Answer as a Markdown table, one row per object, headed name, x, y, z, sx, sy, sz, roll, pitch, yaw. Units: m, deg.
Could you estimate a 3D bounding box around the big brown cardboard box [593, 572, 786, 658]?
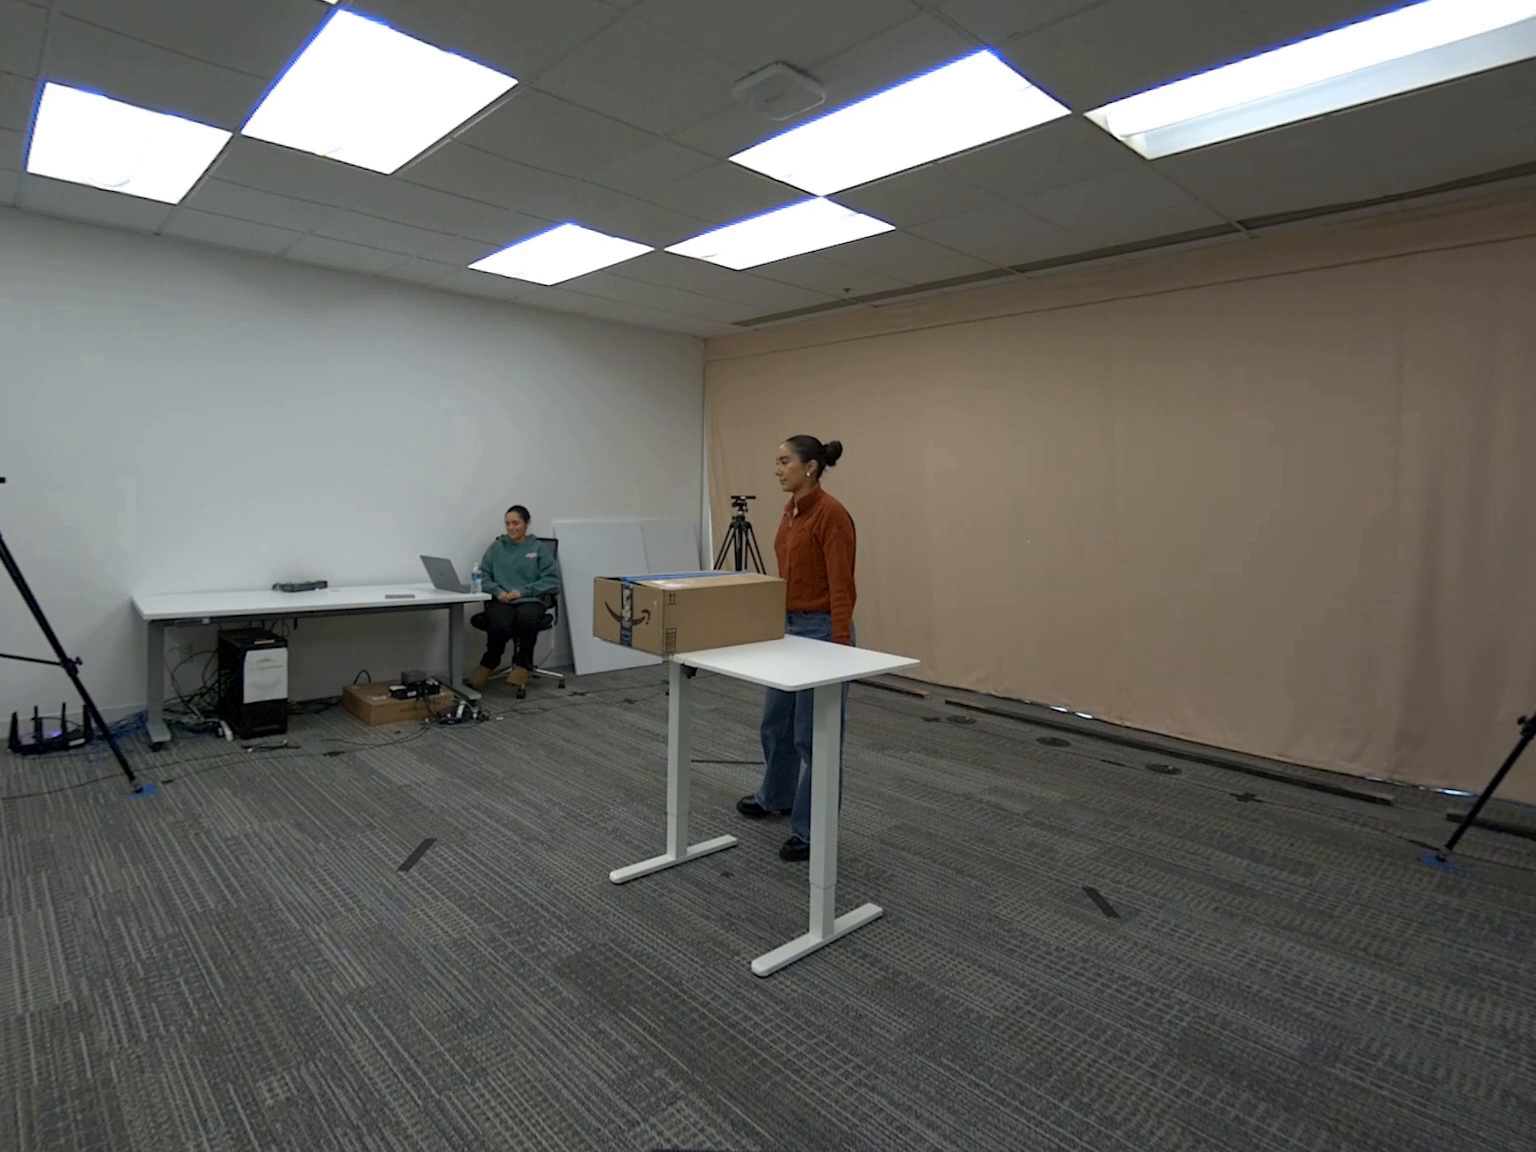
| name | x | y | z | sx | sy | sz | roll | pitch | yaw |
| --- | --- | --- | --- | --- | --- | --- | --- | --- | --- |
| big brown cardboard box | -0.286 | 0.116 | 3.017 | 0.575 | 0.232 | 0.428 | -3 | 7 | -44 |
